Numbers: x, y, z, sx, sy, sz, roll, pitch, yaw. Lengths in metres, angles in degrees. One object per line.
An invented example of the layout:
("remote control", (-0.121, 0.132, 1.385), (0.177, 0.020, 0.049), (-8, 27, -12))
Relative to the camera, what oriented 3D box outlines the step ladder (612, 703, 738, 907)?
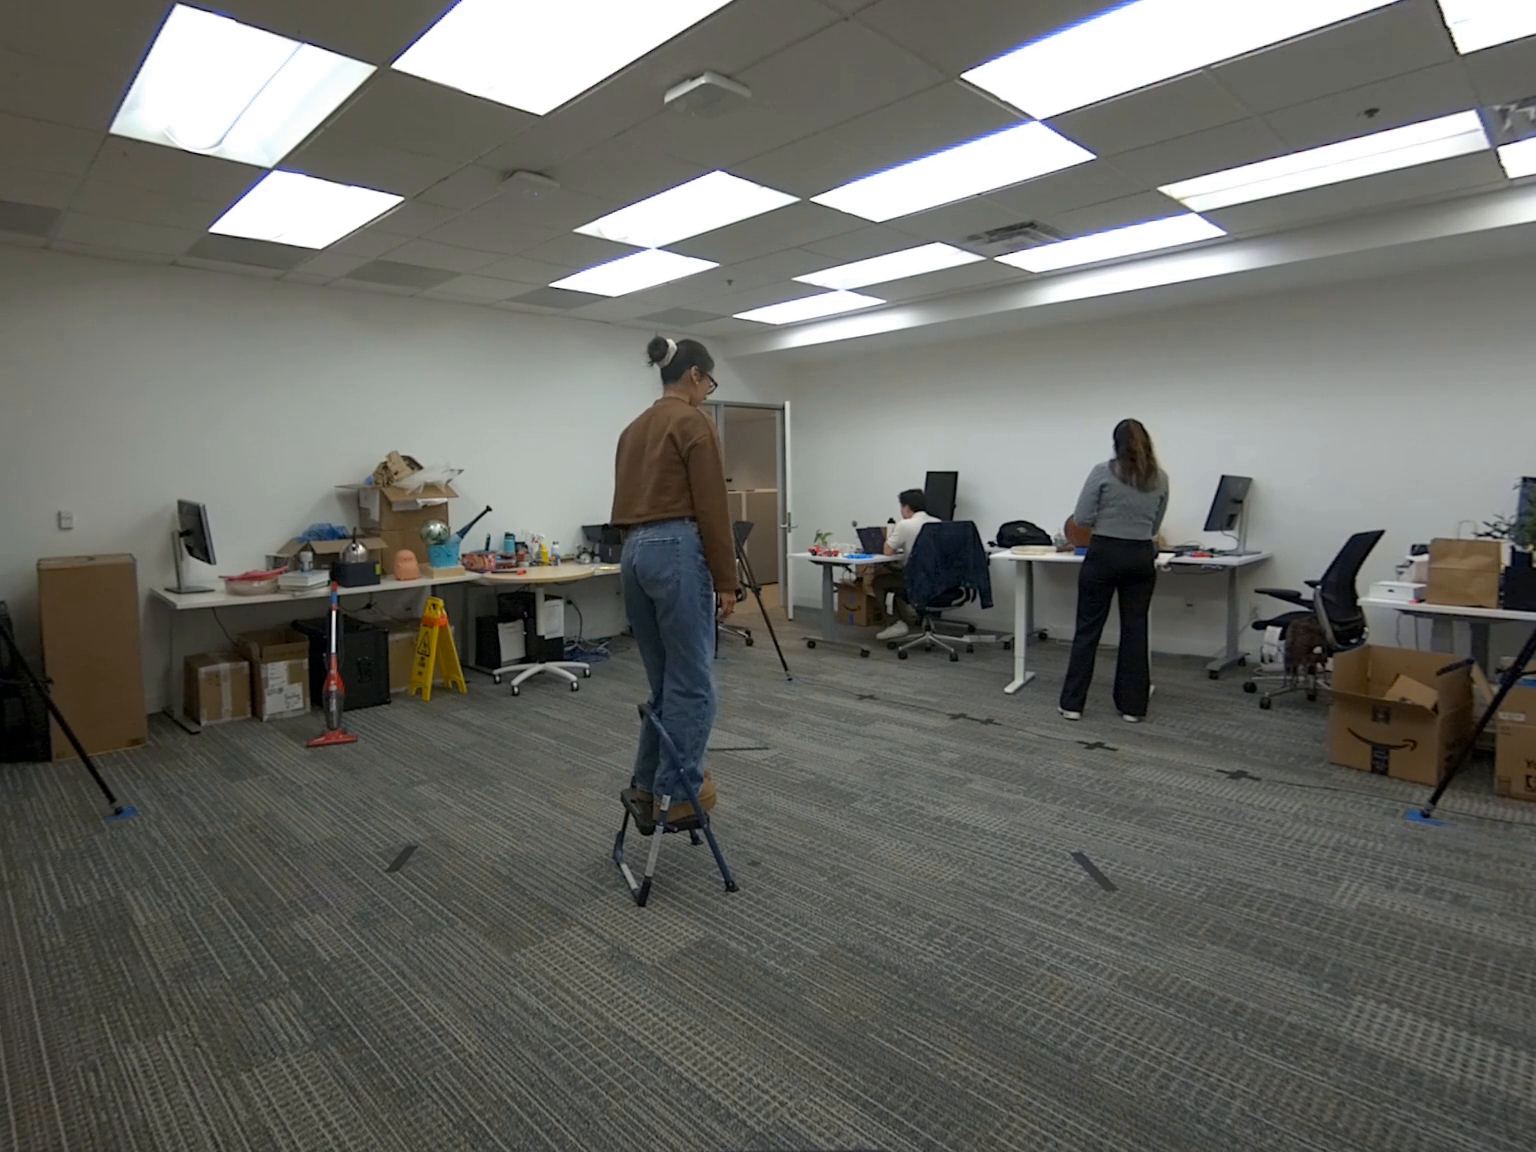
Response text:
("step ladder", (-0.345, 0.759, 3.028), (0.343, 0.604, 0.440), (-3, 5, -22))
